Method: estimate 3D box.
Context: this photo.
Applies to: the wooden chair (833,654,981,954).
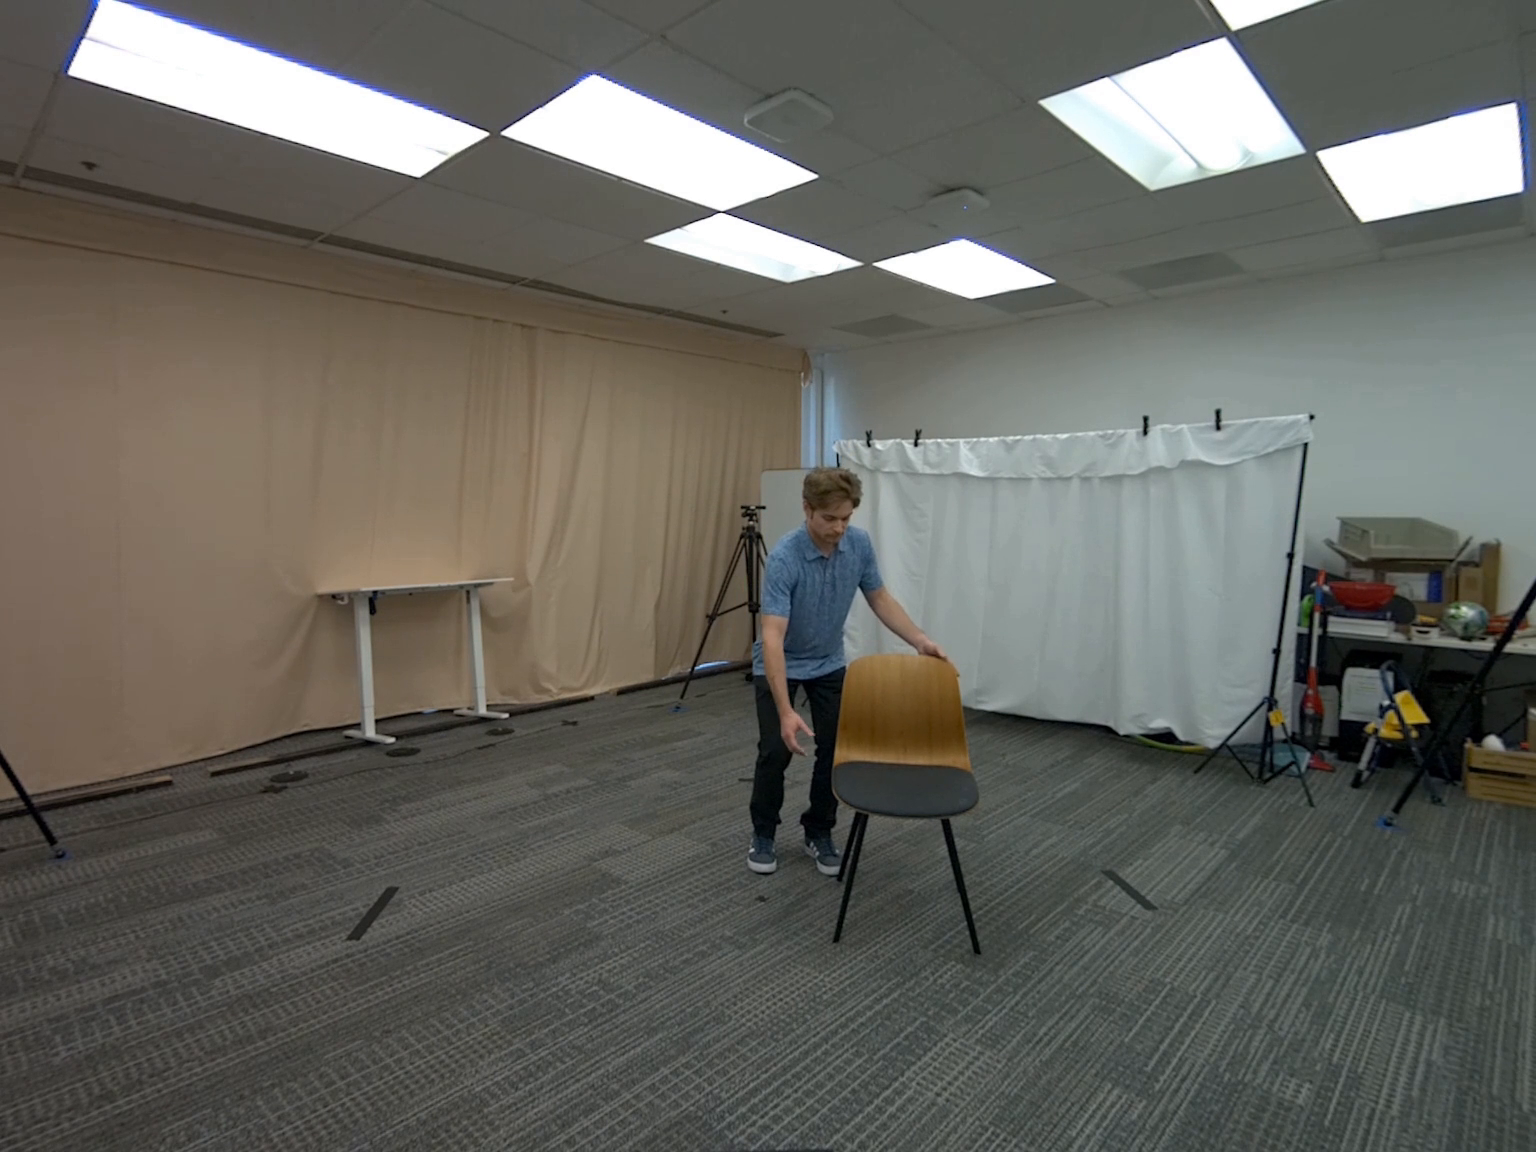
[{"bbox_3d":[0.462,0.726,2.822,0.483,0.878,0.518,1,-1,8],"label":"wooden chair"}]
